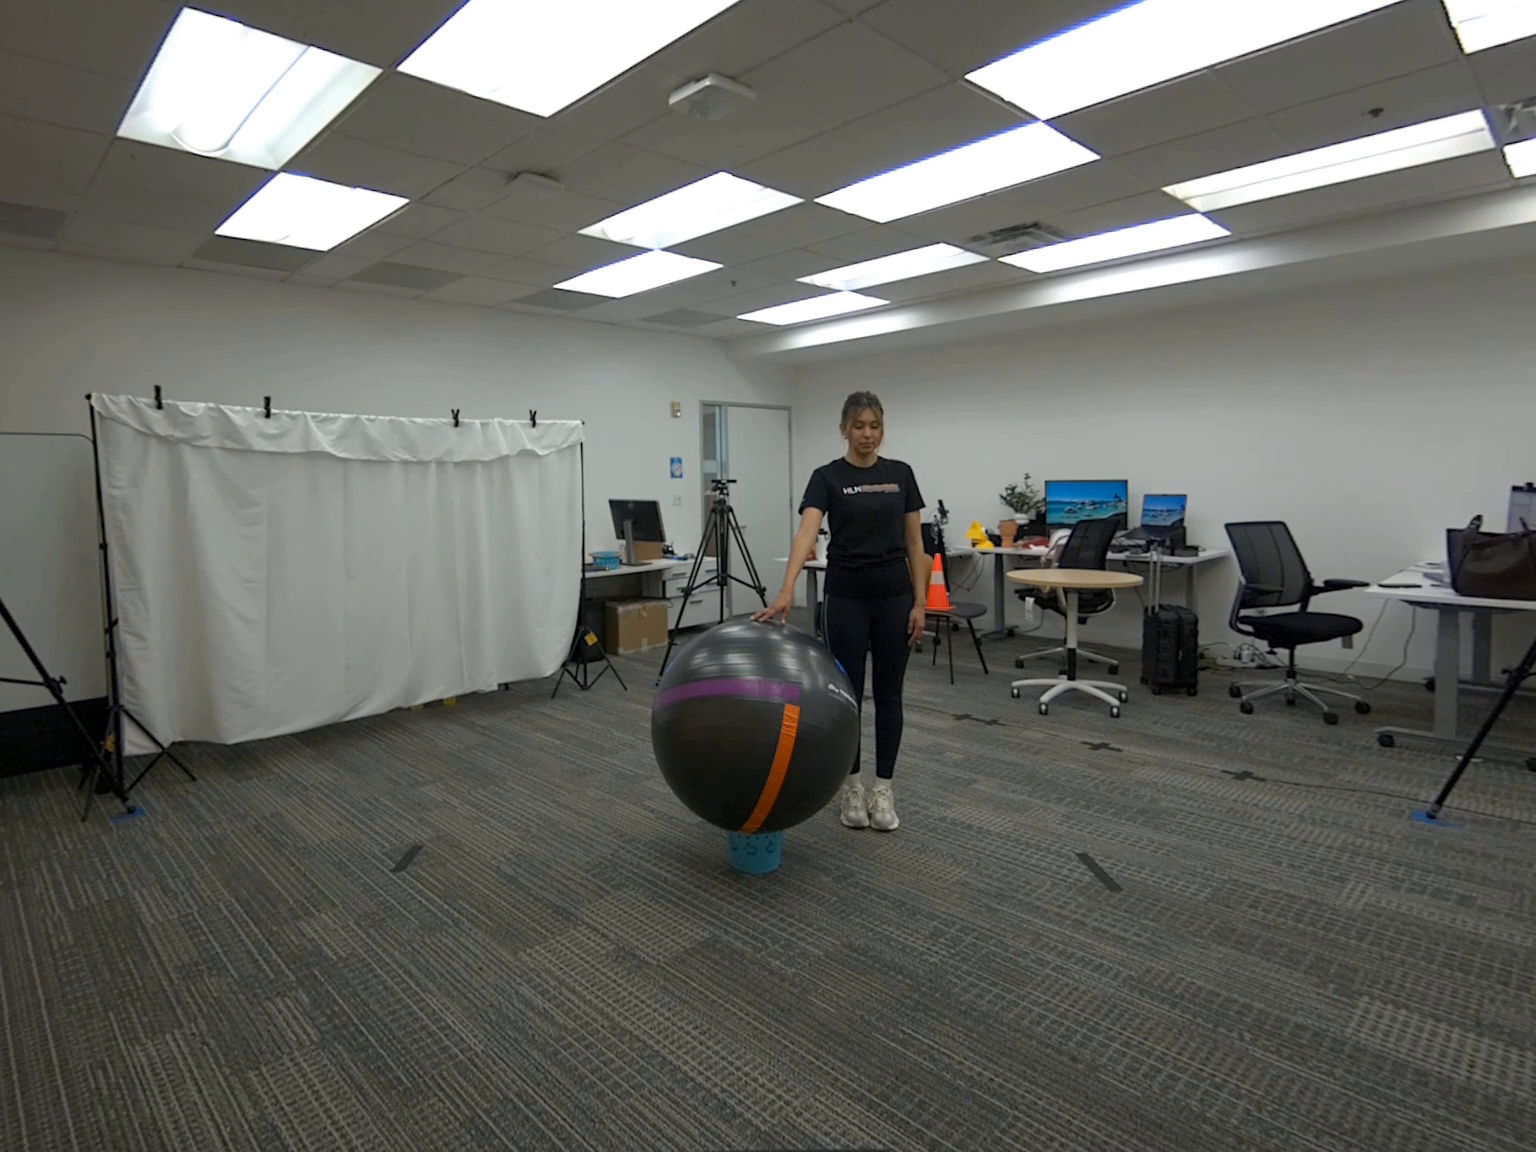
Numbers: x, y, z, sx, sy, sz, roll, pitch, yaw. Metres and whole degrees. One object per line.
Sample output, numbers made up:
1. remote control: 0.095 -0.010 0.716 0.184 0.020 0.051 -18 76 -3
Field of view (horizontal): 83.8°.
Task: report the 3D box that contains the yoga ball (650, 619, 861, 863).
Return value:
1. yoga ball: -0.047 0.542 3.108 0.757 0.755 0.762 -1 5 -2
